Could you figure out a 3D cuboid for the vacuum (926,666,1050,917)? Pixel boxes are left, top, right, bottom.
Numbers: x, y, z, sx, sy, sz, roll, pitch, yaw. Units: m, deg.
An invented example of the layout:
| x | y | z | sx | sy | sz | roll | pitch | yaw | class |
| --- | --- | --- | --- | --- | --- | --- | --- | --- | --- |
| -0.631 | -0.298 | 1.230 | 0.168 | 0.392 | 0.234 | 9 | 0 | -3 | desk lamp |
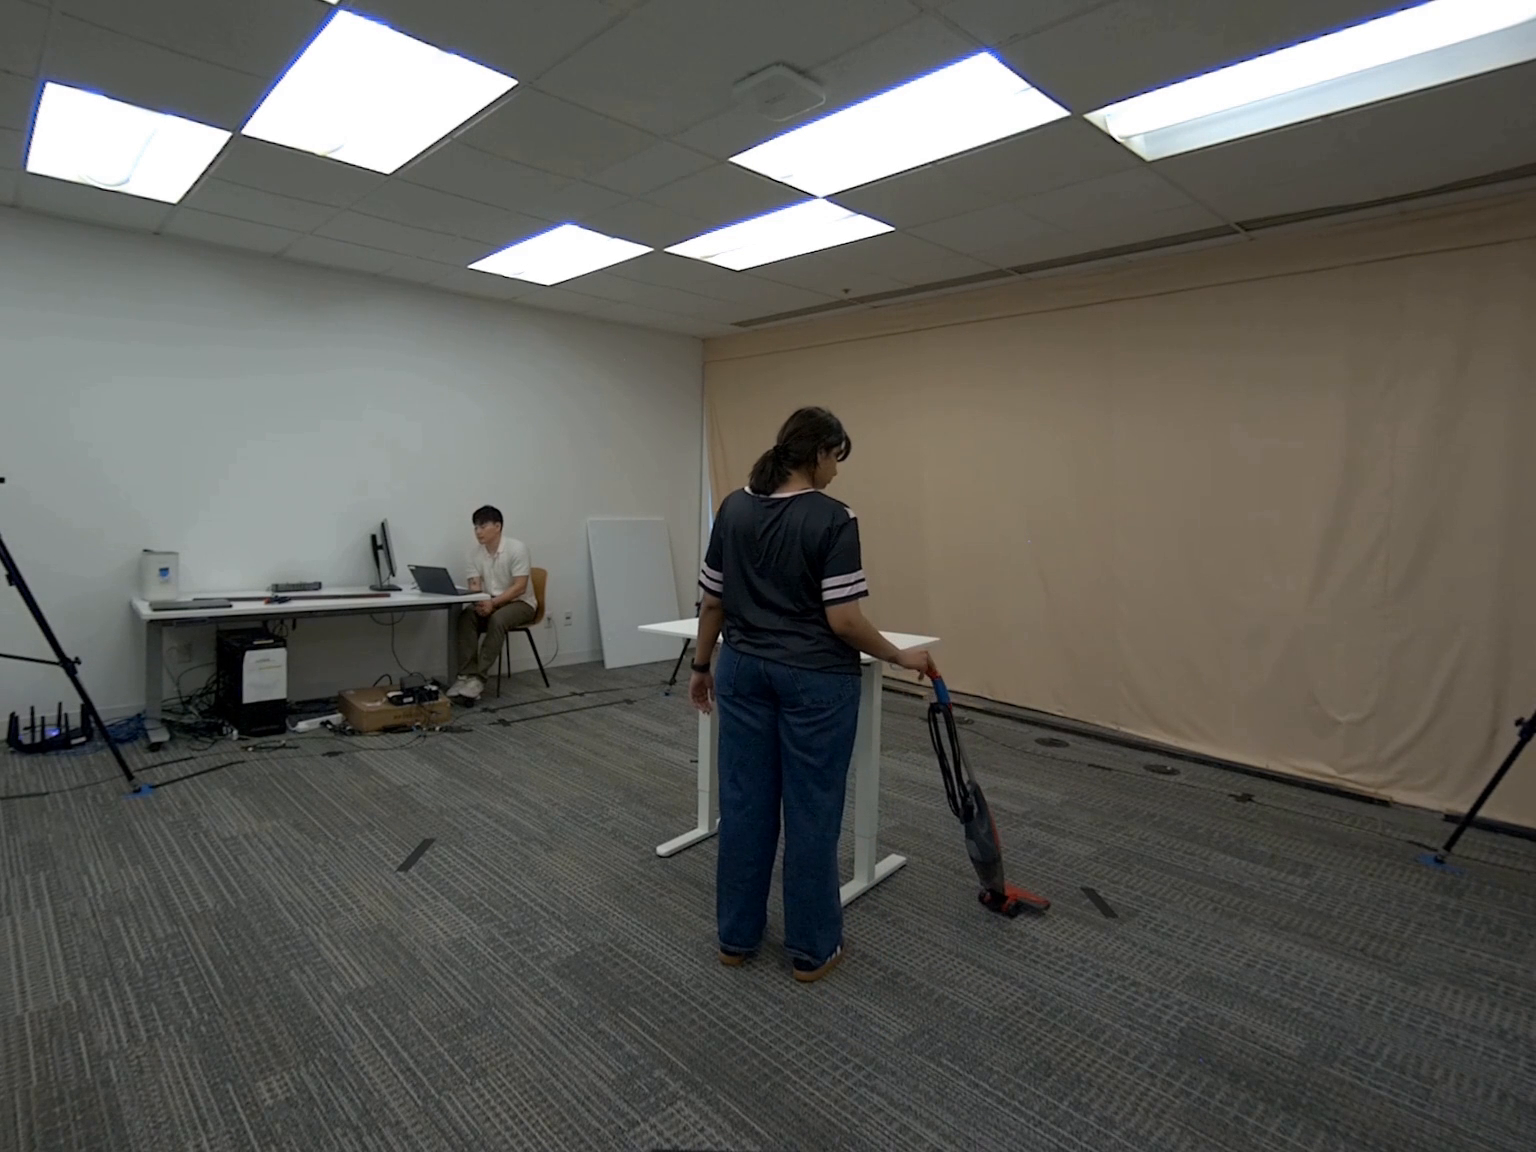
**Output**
| x | y | z | sx | sy | sz | roll | pitch | yaw | class |
| --- | --- | --- | --- | --- | --- | --- | --- | --- | --- |
| 0.640 | 0.697 | 2.727 | 0.143 | 1.028 | 0.259 | -38 | 27 | -32 | vacuum |
